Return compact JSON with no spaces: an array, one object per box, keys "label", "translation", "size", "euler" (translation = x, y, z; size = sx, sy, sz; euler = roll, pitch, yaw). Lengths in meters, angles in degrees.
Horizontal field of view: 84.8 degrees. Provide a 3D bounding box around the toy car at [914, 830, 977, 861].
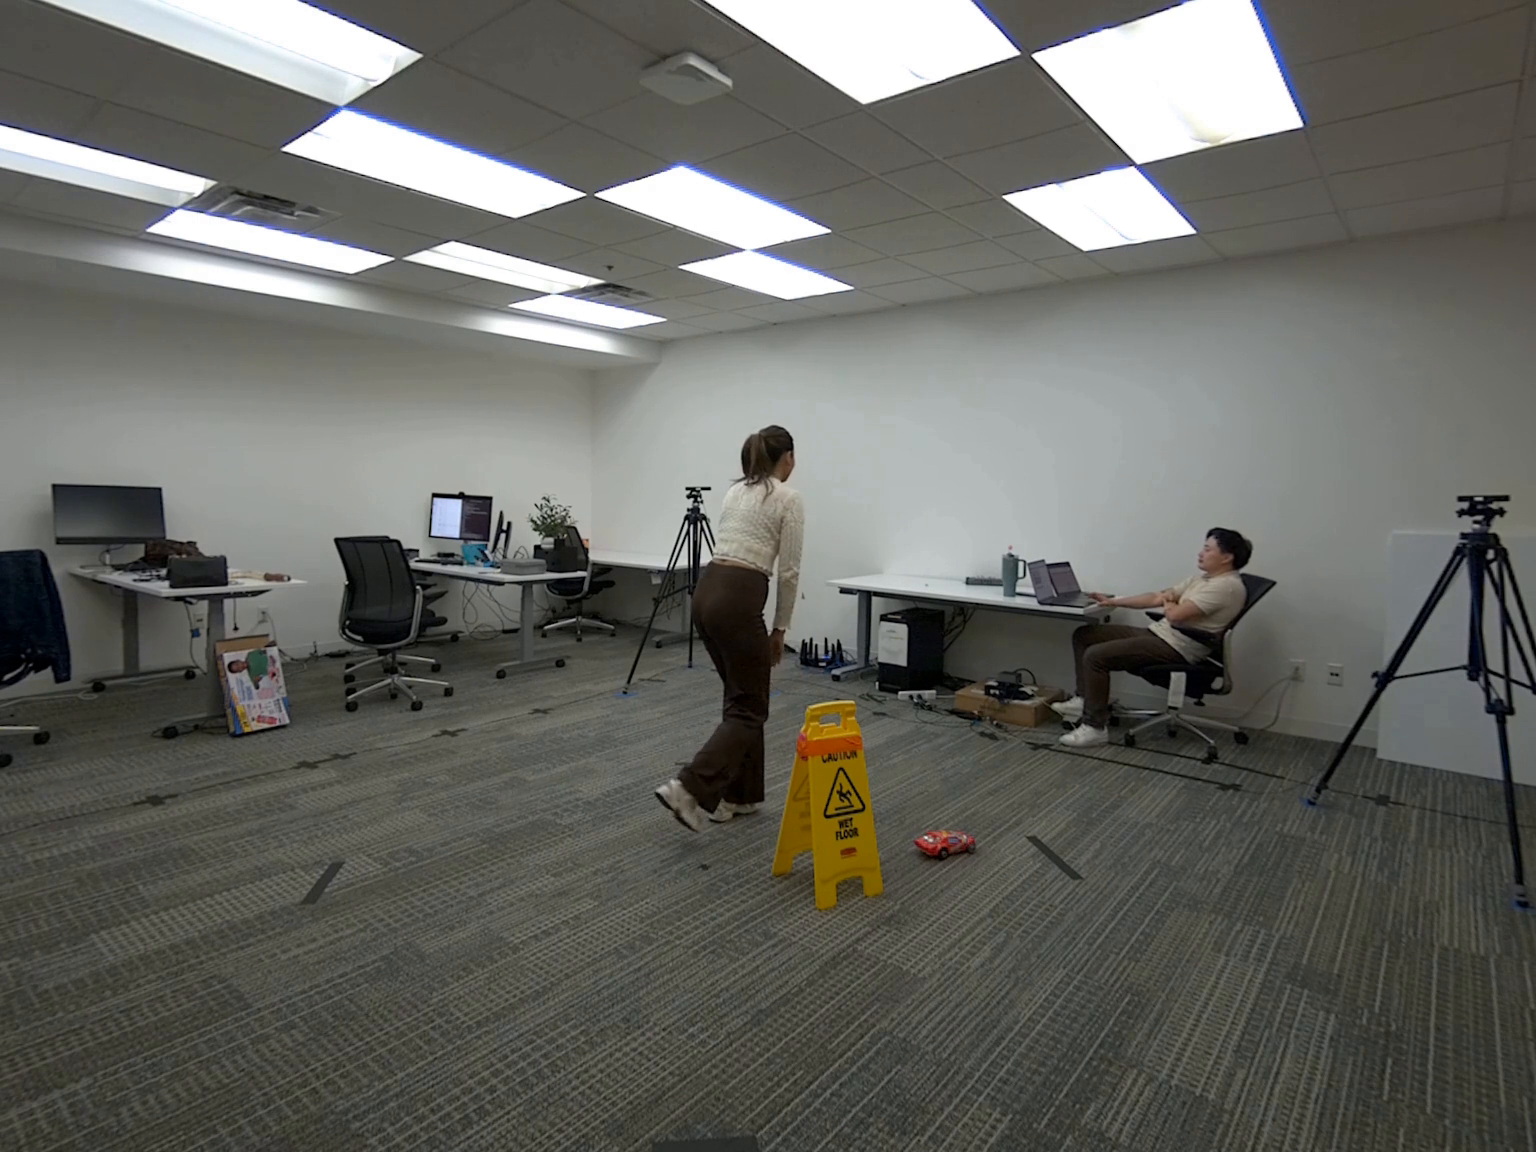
[{"label":"toy car","translation":[0.677,1.033,3.296],"size":[0.247,0.083,0.134],"euler":[11,0,-28]}]
